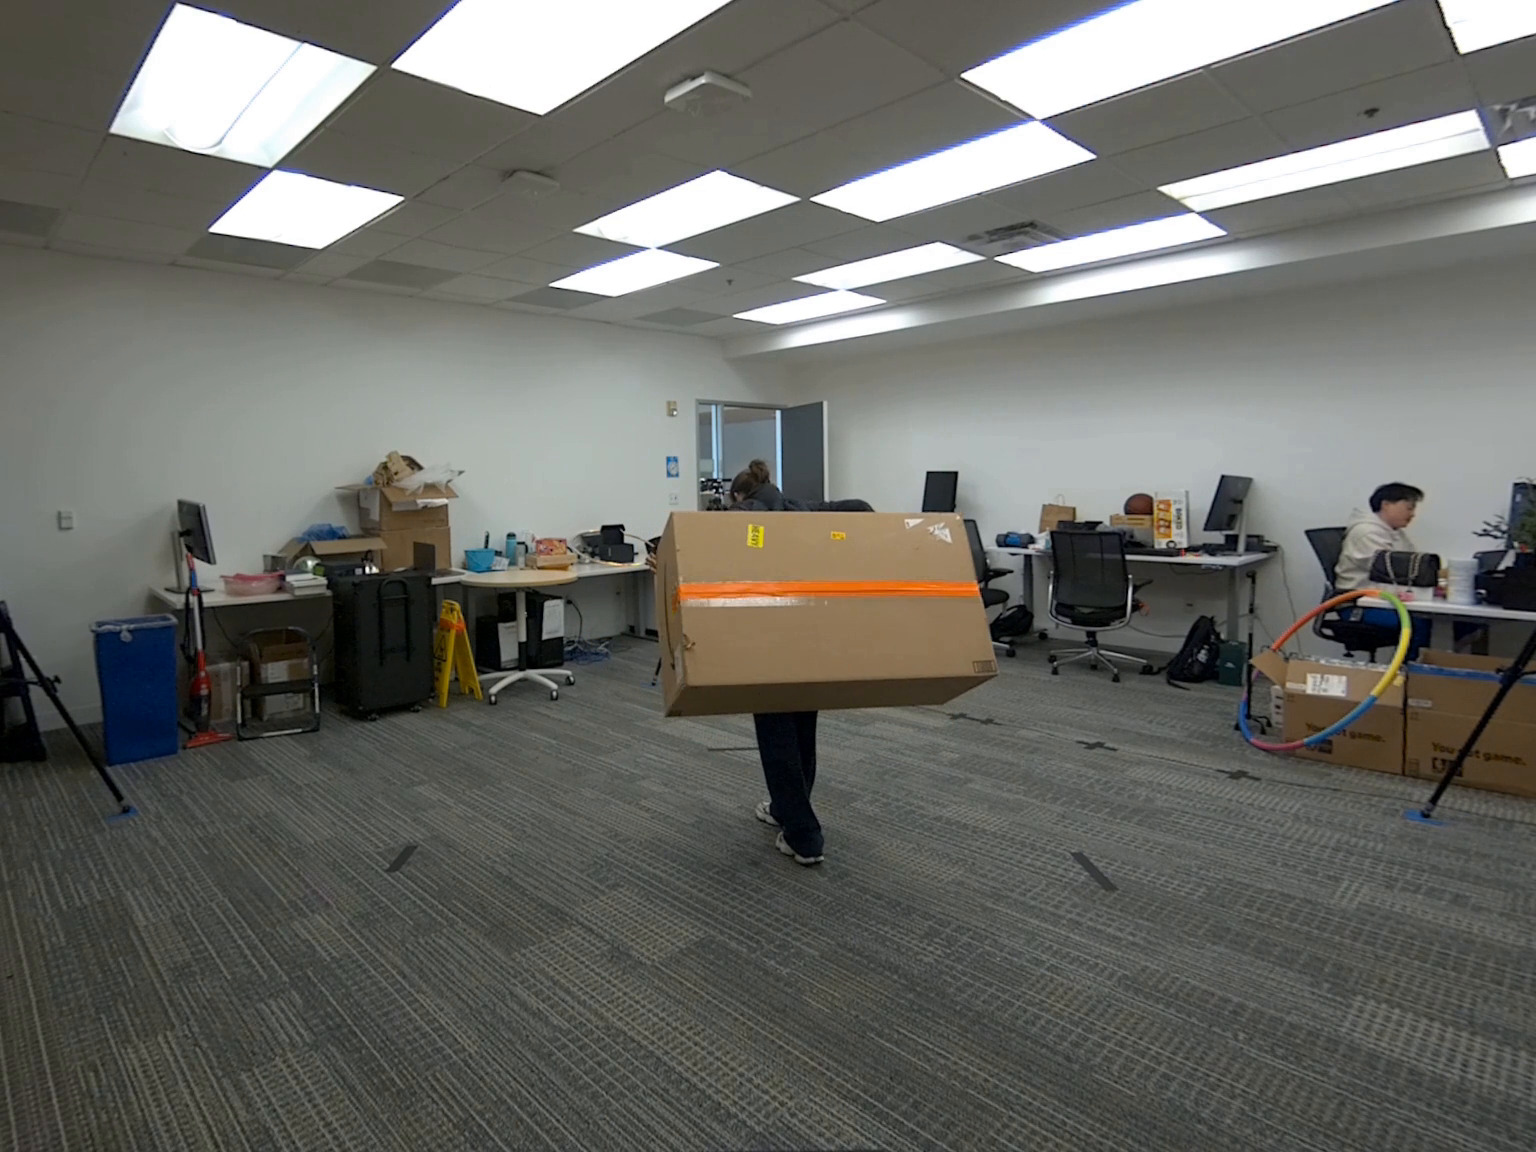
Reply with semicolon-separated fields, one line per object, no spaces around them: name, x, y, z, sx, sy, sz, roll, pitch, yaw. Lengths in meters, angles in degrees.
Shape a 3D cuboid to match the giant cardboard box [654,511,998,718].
giant cardboard box;0.156;0.128;2.921;1.011;0.591;0.423;-1;-24;-15
